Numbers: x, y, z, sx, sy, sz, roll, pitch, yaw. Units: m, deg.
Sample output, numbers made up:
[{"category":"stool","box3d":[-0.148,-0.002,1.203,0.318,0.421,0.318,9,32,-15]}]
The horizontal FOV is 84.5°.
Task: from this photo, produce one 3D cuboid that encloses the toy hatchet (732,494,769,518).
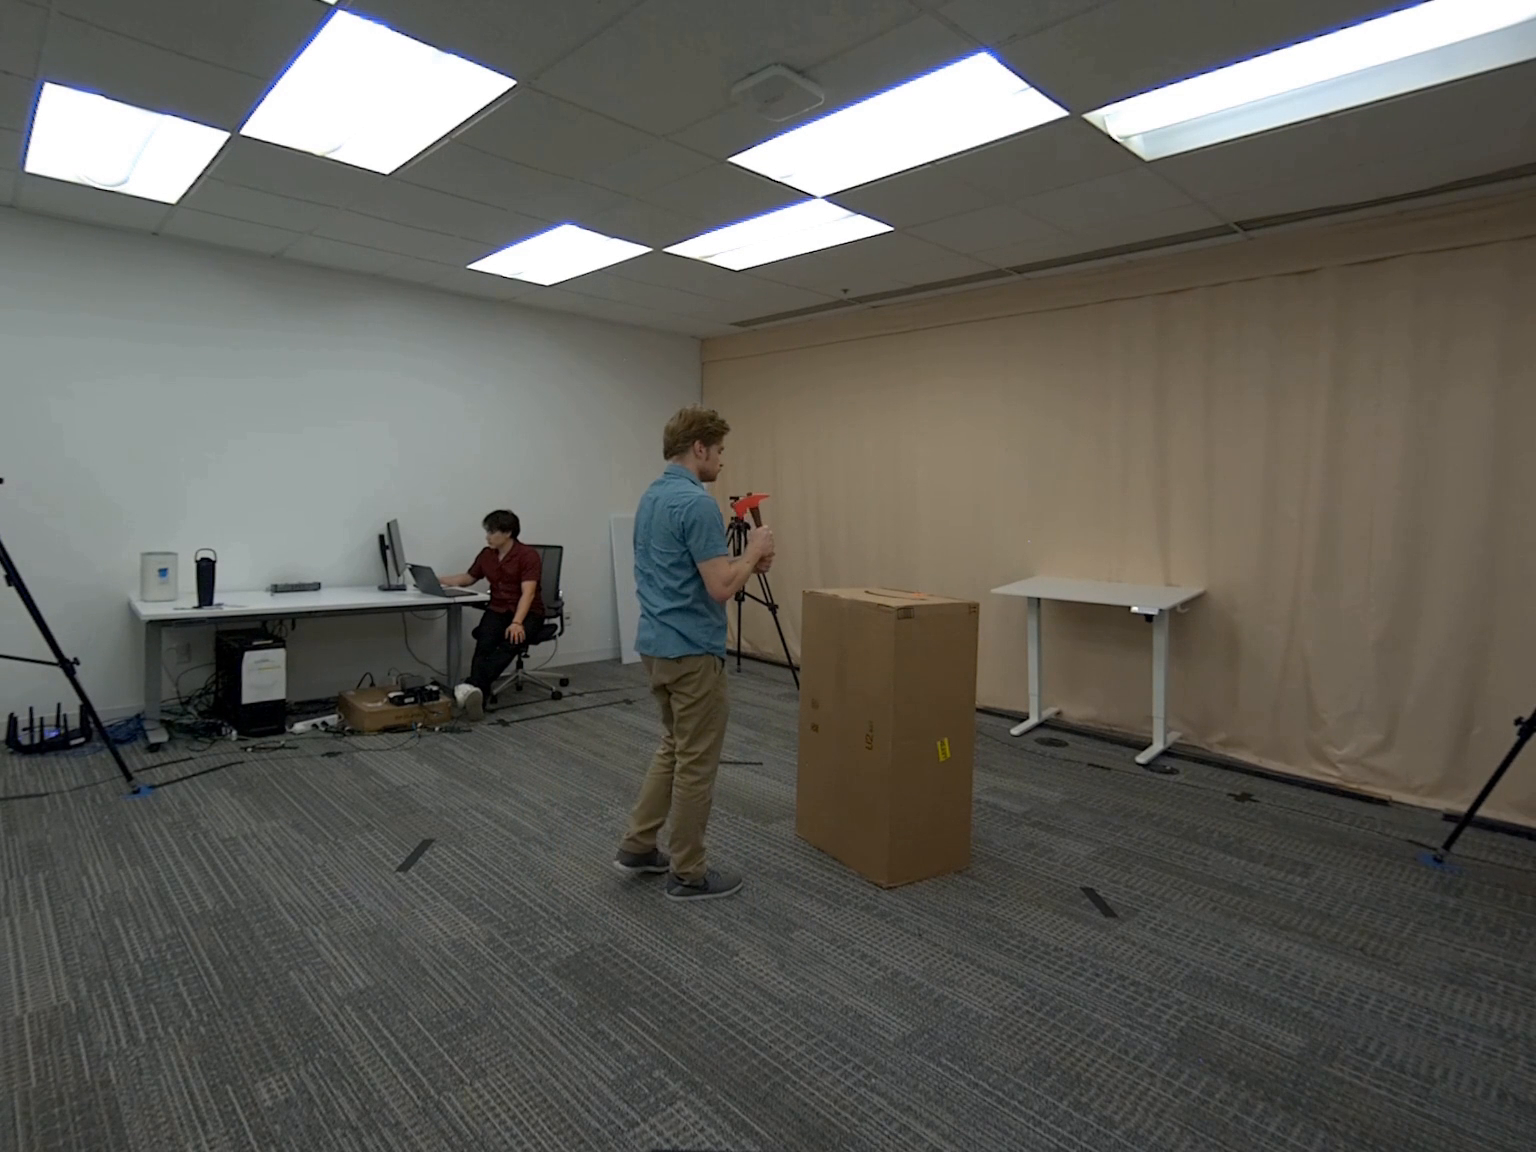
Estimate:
[{"category":"toy hatchet","box3d":[-0.094,-0.159,2.935,0.130,0.269,0.030,3,4,-7]}]
